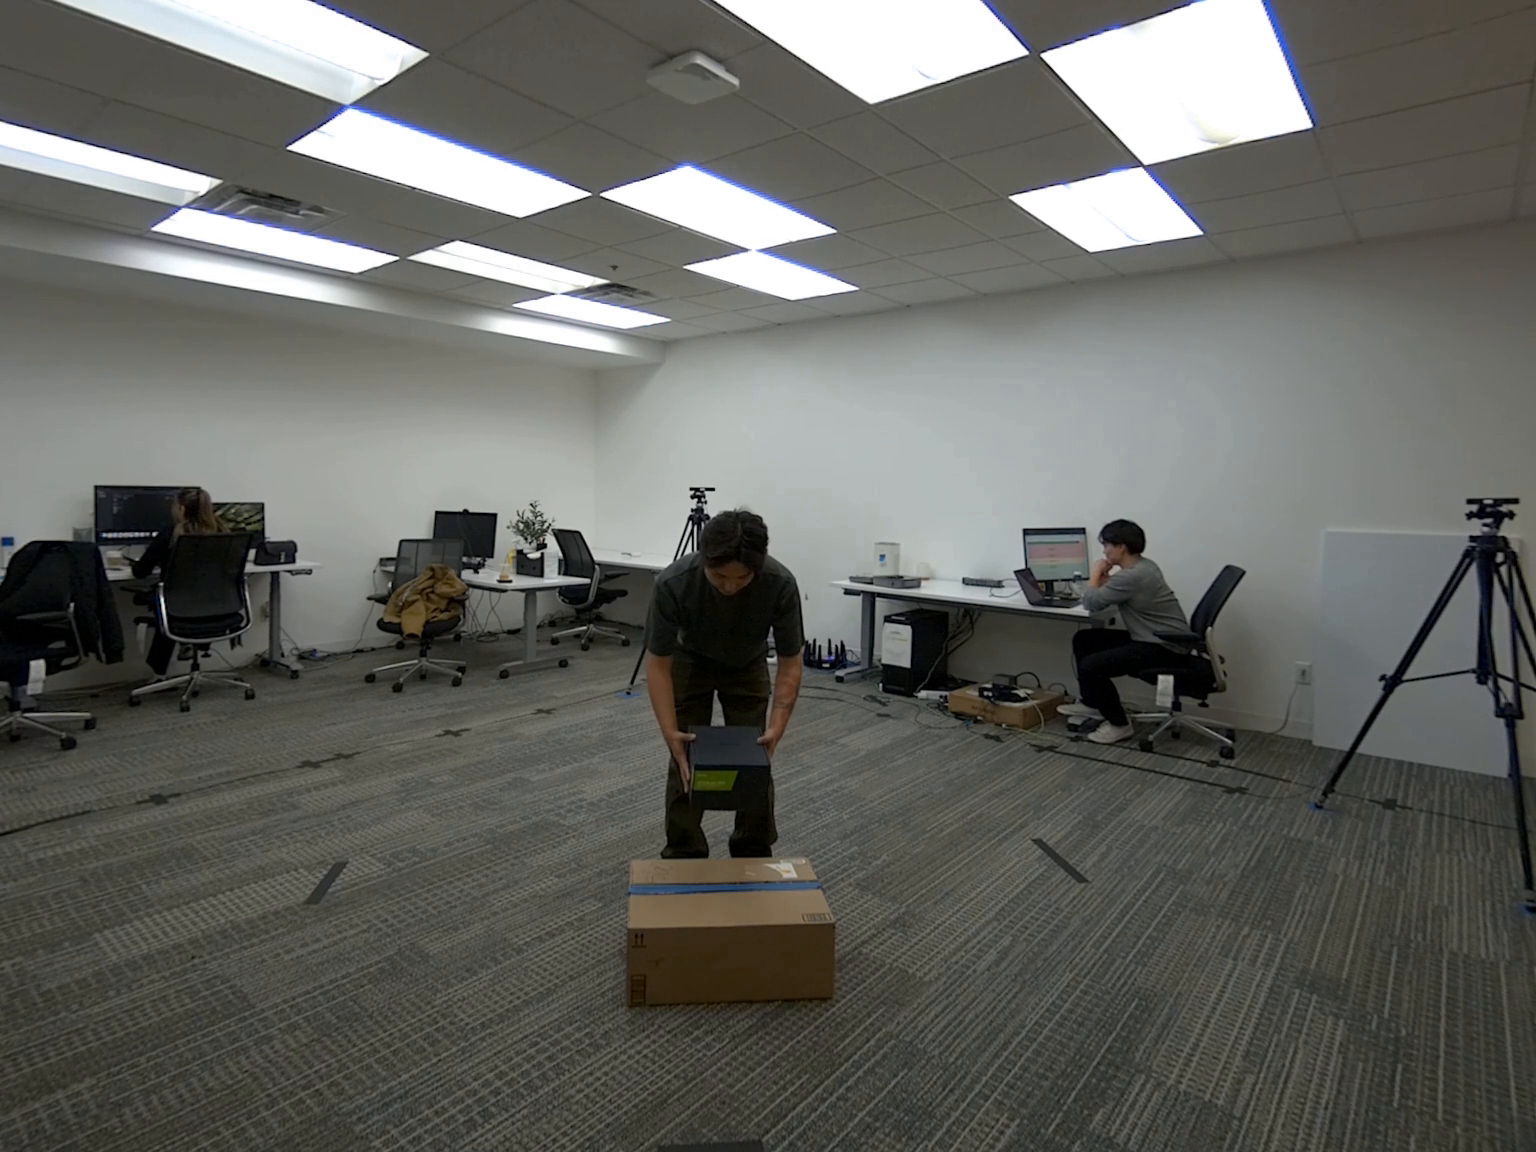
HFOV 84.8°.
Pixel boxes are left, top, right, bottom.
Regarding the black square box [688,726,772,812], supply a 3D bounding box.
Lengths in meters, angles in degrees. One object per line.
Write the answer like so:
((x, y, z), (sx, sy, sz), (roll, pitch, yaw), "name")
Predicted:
((-0.138, 0.577, 2.579), (0.226, 0.153, 0.222), (3, 21, -9), "black square box")
